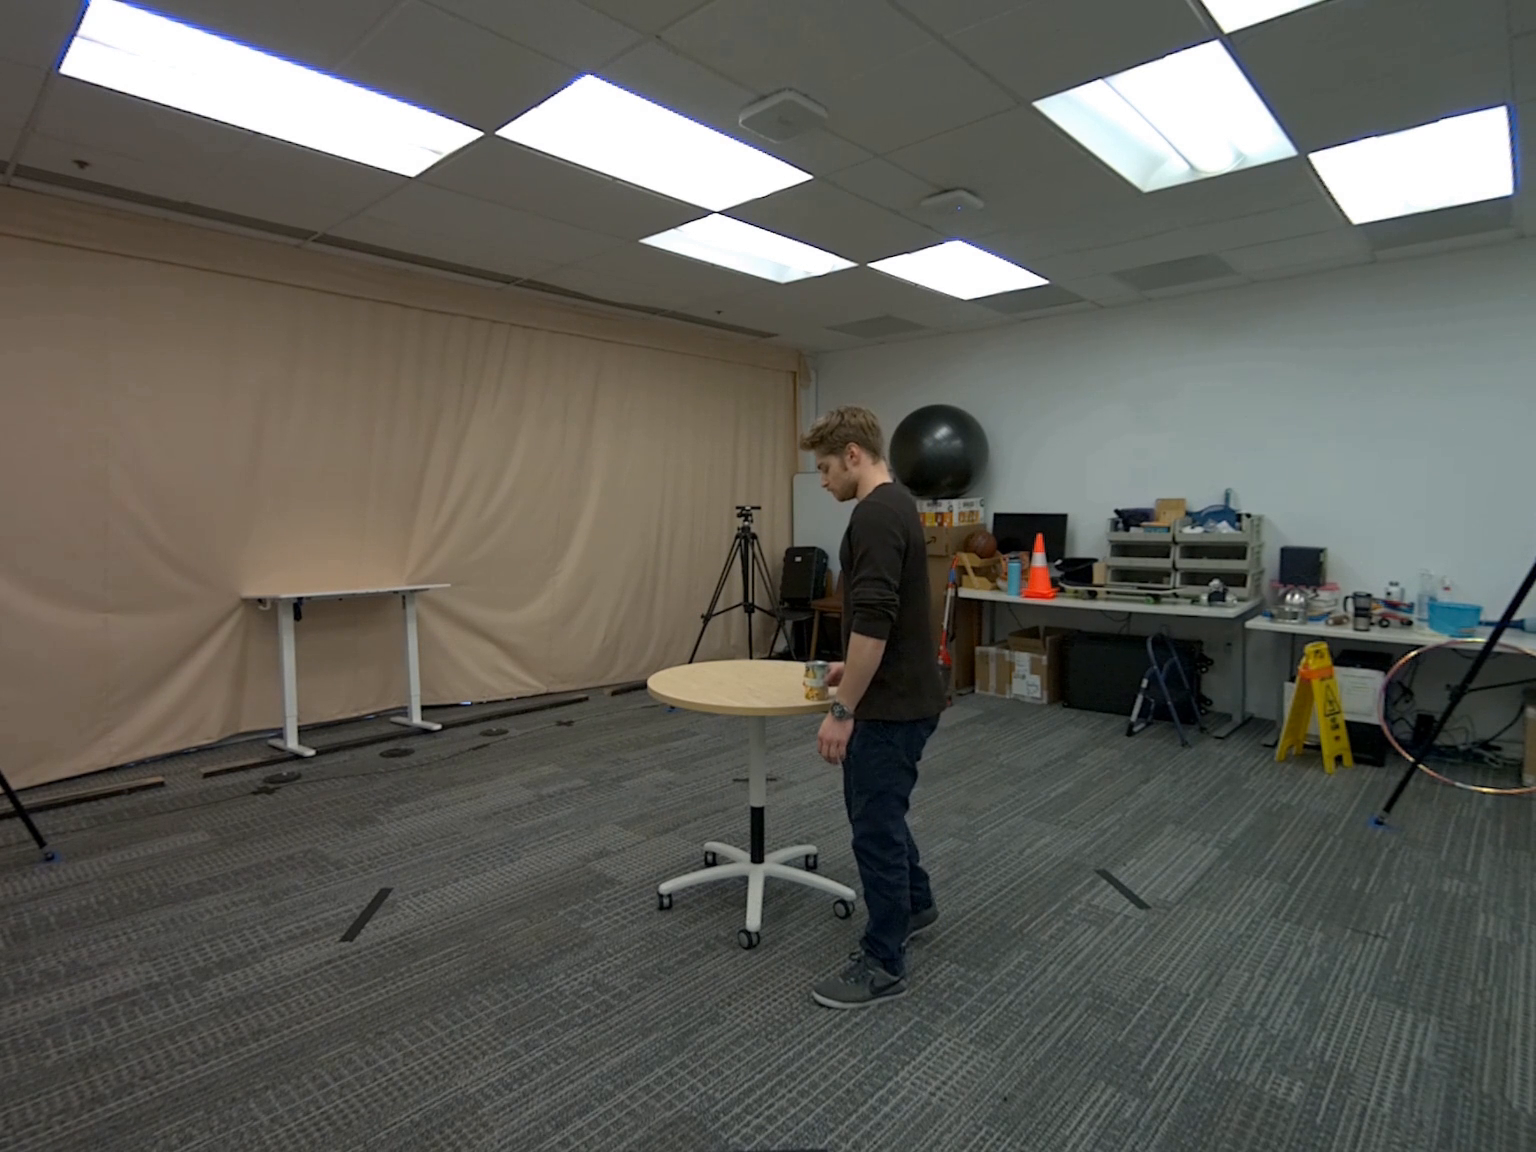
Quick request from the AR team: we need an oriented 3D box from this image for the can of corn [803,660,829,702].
[{"bbox_3d":[0.163,0.335,2.676,0.074,0.111,0.074,0,1,-2],"label":"can of corn"}]
